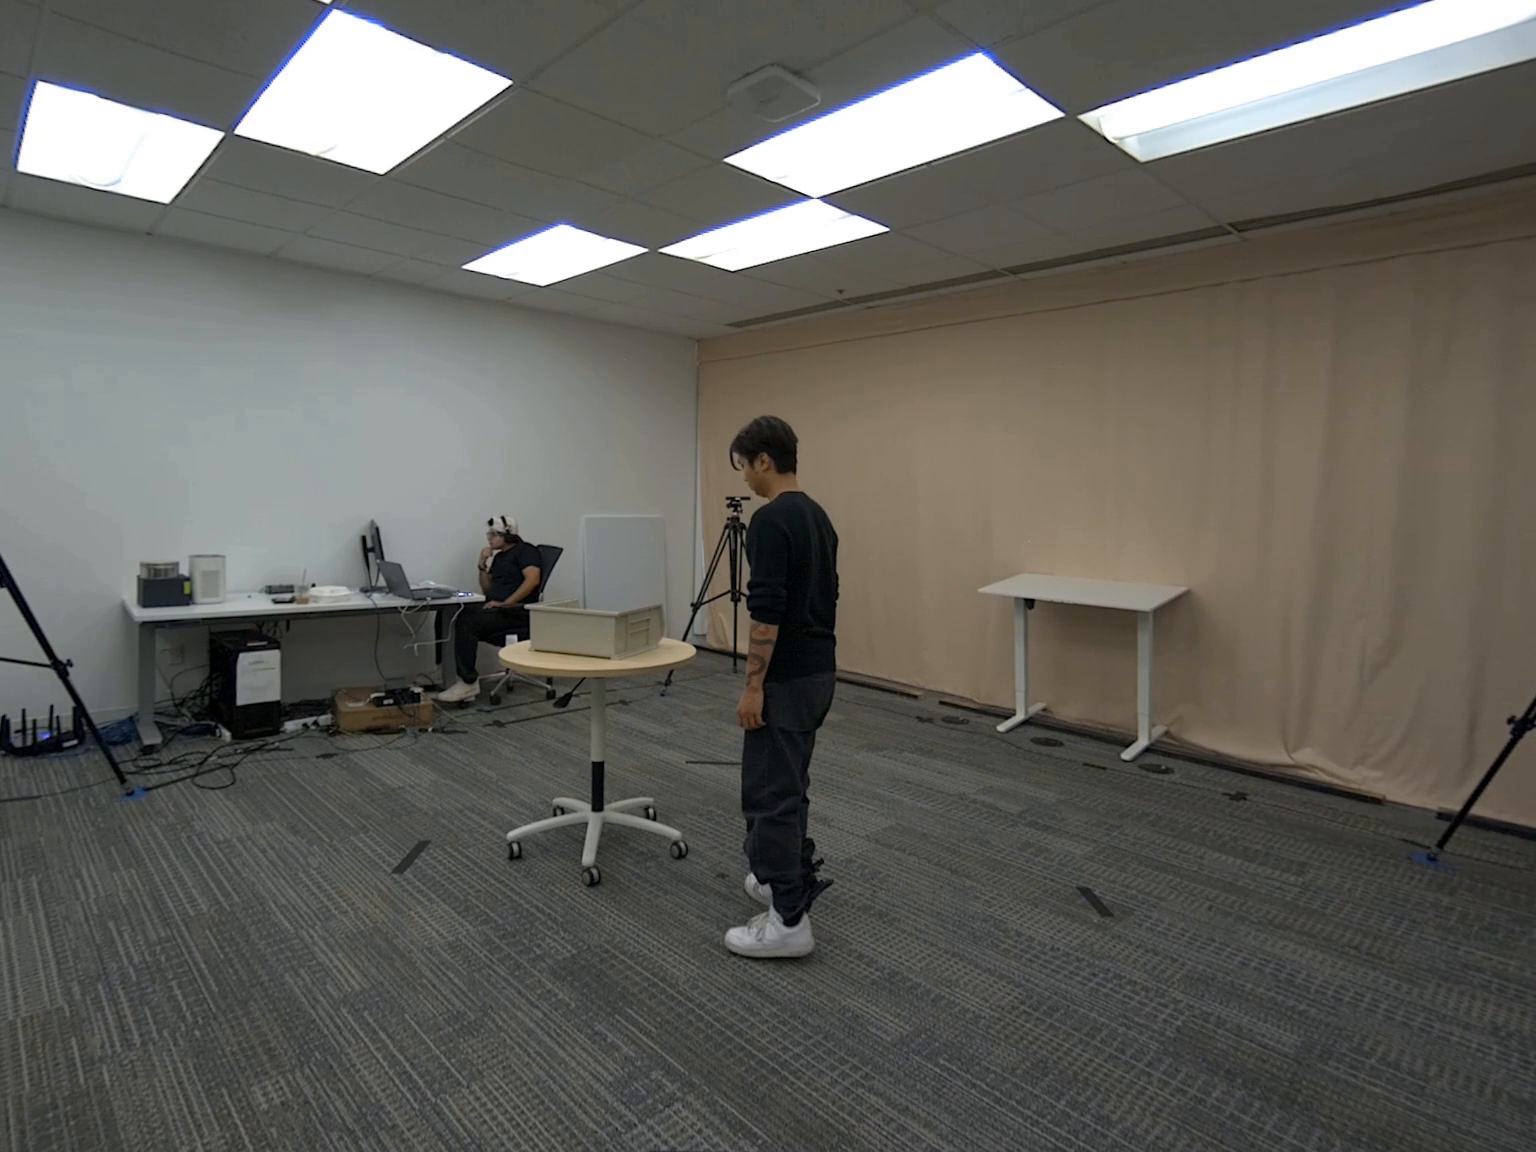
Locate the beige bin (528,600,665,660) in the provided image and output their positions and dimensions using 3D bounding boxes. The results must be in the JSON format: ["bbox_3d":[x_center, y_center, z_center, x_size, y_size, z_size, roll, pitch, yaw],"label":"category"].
[{"bbox_3d":[-0.688,0.203,3.343,0.430,0.188,0.372,3,6,23],"label":"beige bin"}]
